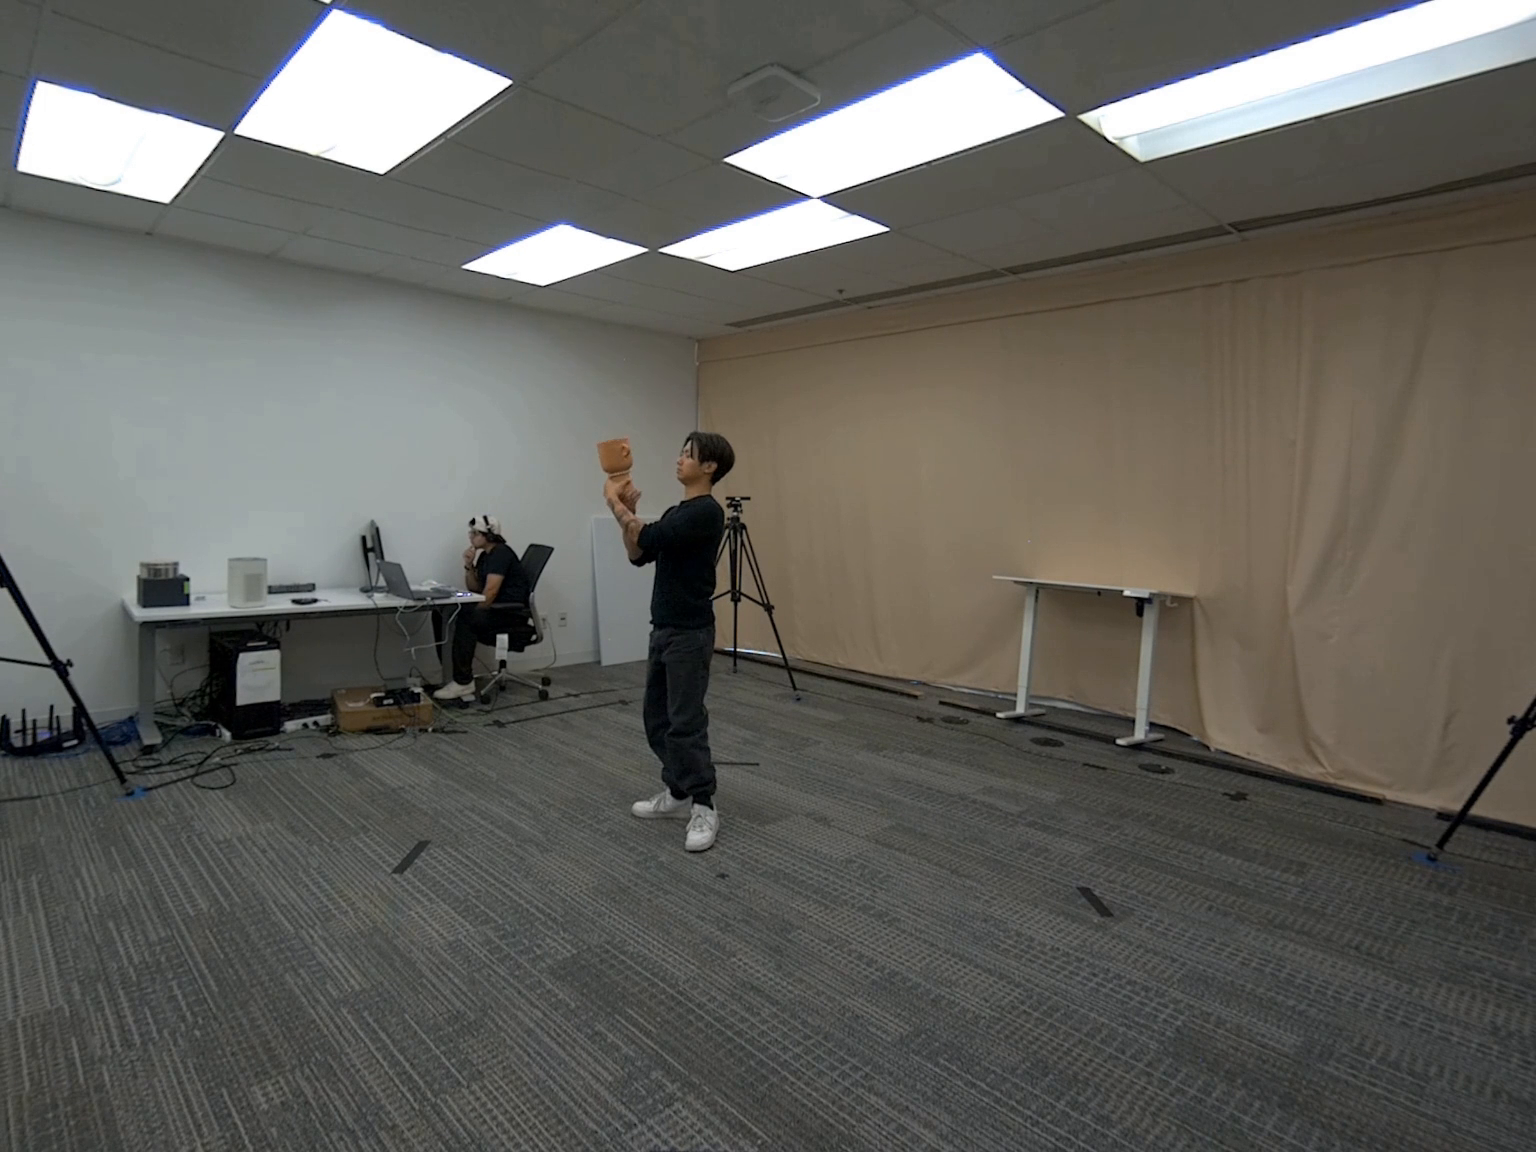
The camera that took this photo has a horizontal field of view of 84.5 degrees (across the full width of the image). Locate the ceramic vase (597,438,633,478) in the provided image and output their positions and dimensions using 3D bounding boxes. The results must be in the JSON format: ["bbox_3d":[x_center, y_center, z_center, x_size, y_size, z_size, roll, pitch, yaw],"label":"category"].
[{"bbox_3d":[-0.626,-0.451,3.454,0.134,0.218,0.160,-12,11,-4],"label":"ceramic vase"}]
